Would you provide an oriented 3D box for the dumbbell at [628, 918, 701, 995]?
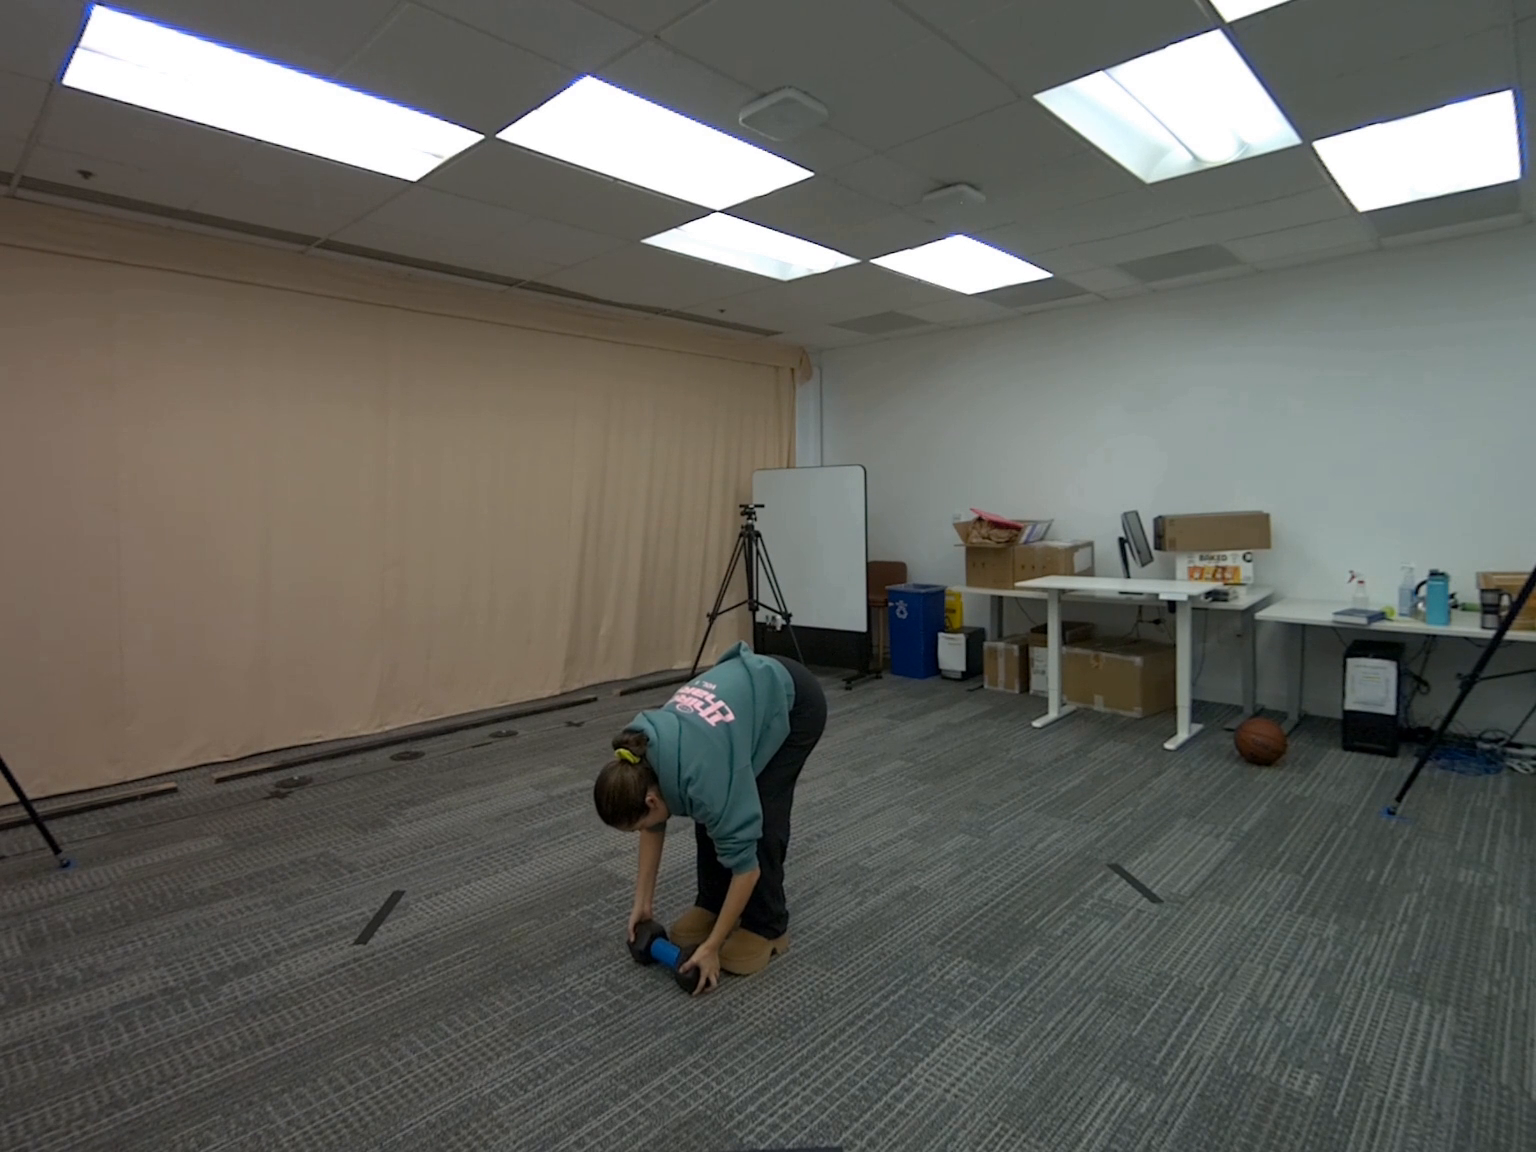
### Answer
[{"bbox_3d":[-0.283,1.130,2.512,0.303,0.121,0.107,0,25,44],"label":"dumbbell"}]
